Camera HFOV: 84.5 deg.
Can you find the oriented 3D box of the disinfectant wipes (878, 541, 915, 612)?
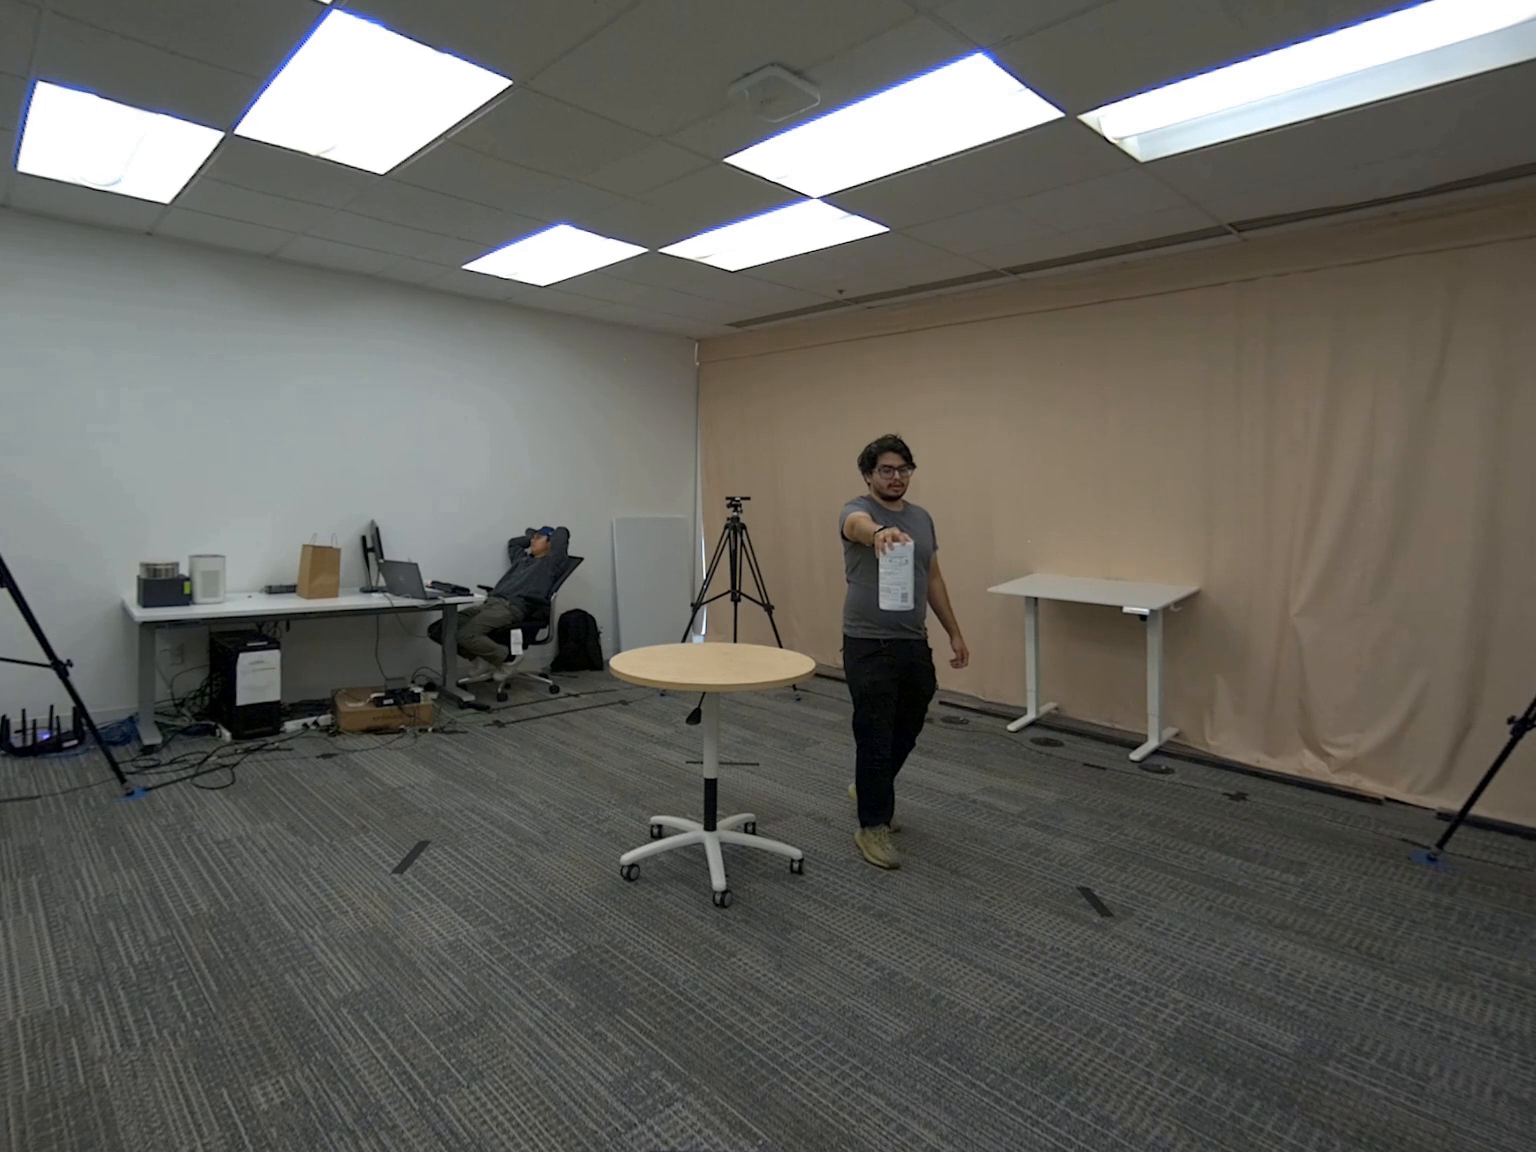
[{"bbox_3d":[0.405,0.003,2.688,0.118,0.217,0.118,-1,3,-1],"label":"disinfectant wipes"}]
